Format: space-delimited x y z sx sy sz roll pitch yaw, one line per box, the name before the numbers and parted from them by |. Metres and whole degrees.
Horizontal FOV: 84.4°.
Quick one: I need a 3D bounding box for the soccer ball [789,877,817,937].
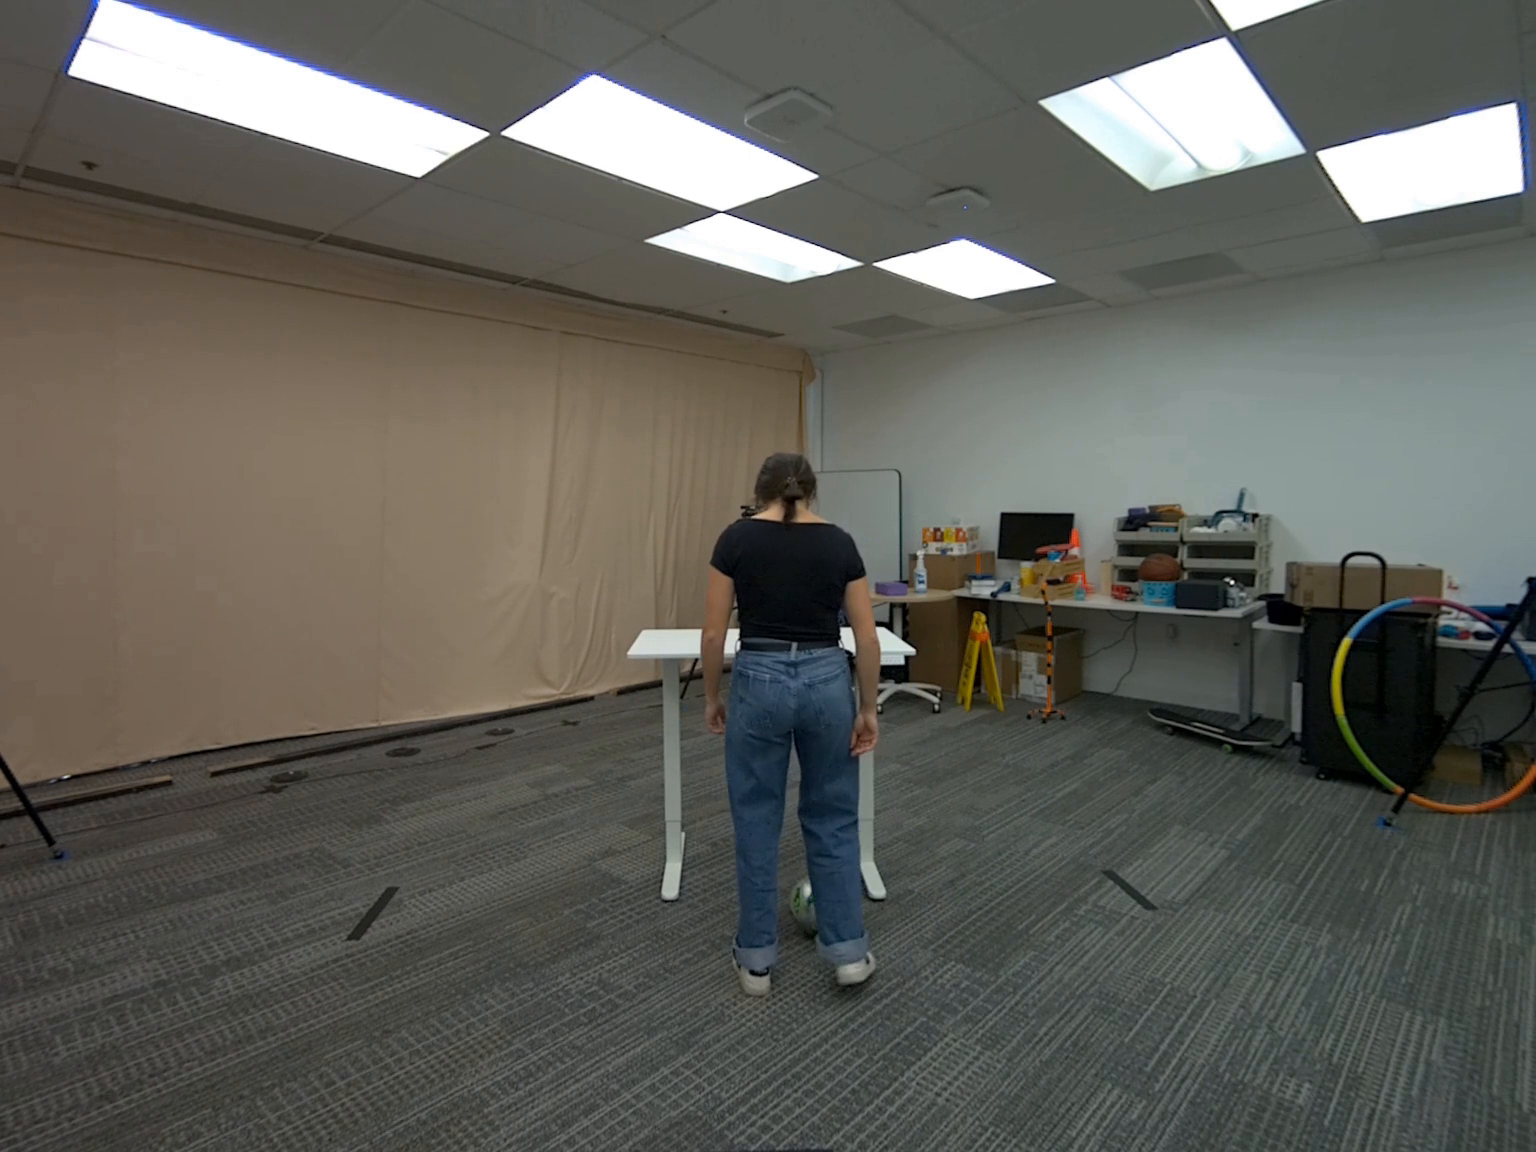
soccer ball | 0.173 1.075 2.739 0.187 0.187 0.188 0 4 -2
